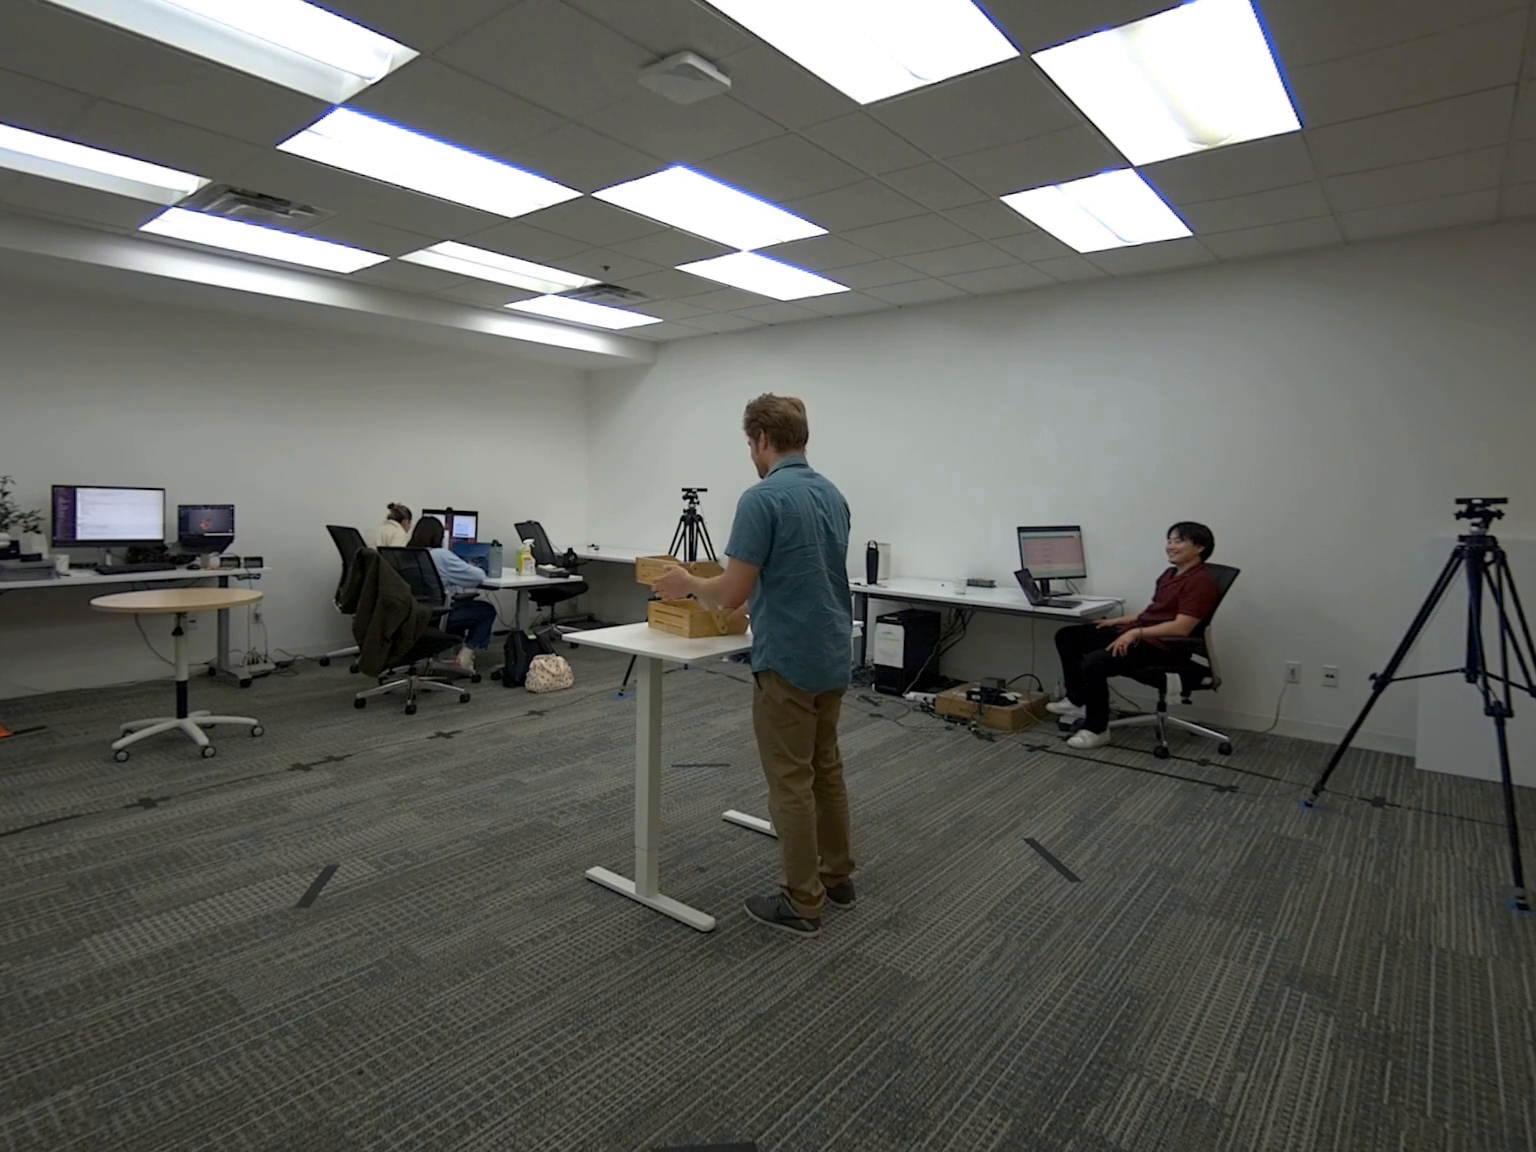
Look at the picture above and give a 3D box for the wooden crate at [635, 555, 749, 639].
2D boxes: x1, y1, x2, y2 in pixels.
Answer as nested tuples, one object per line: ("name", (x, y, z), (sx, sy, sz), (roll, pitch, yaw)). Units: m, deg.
("wooden crate", (-0.282, 0.060, 3.046), (0.293, 0.272, 0.335), (-4, 6, -35))
